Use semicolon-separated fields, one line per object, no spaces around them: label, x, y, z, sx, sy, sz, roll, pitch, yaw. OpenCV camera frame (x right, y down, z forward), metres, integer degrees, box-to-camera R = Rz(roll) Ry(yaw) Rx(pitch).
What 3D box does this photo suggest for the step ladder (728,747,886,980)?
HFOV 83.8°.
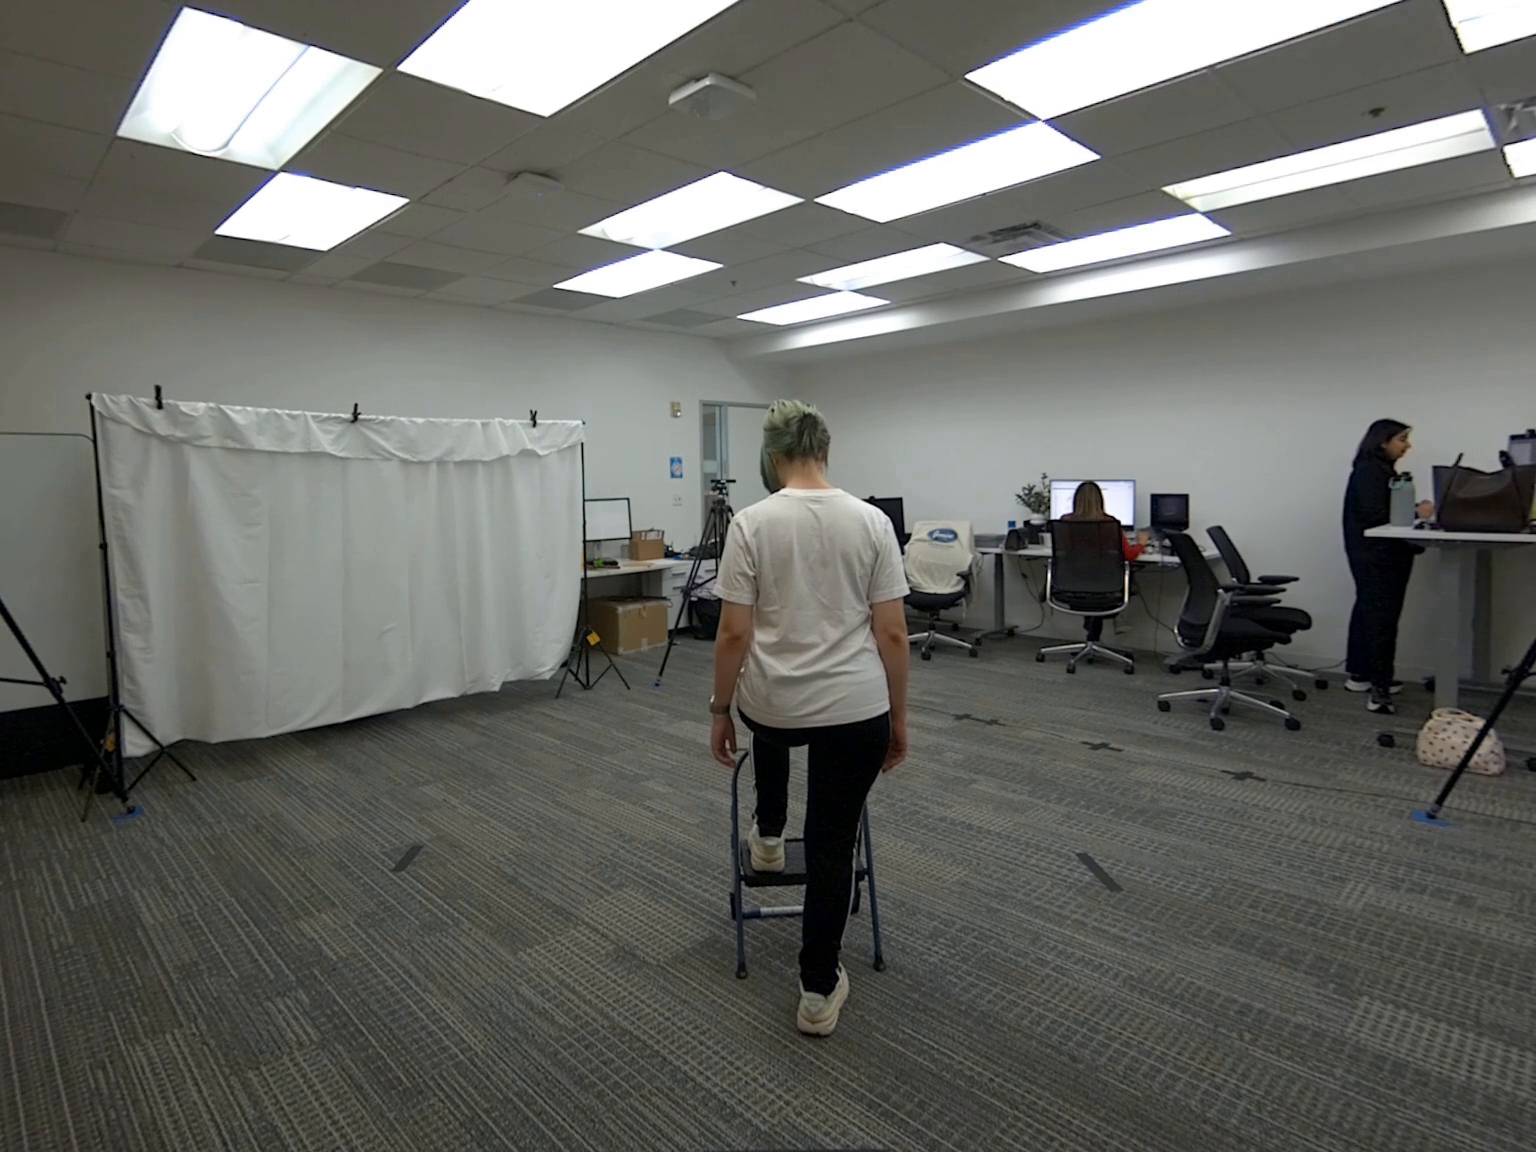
step ladder;0.106;0.812;2.563;0.429;0.603;0.352;-1;5;-5
